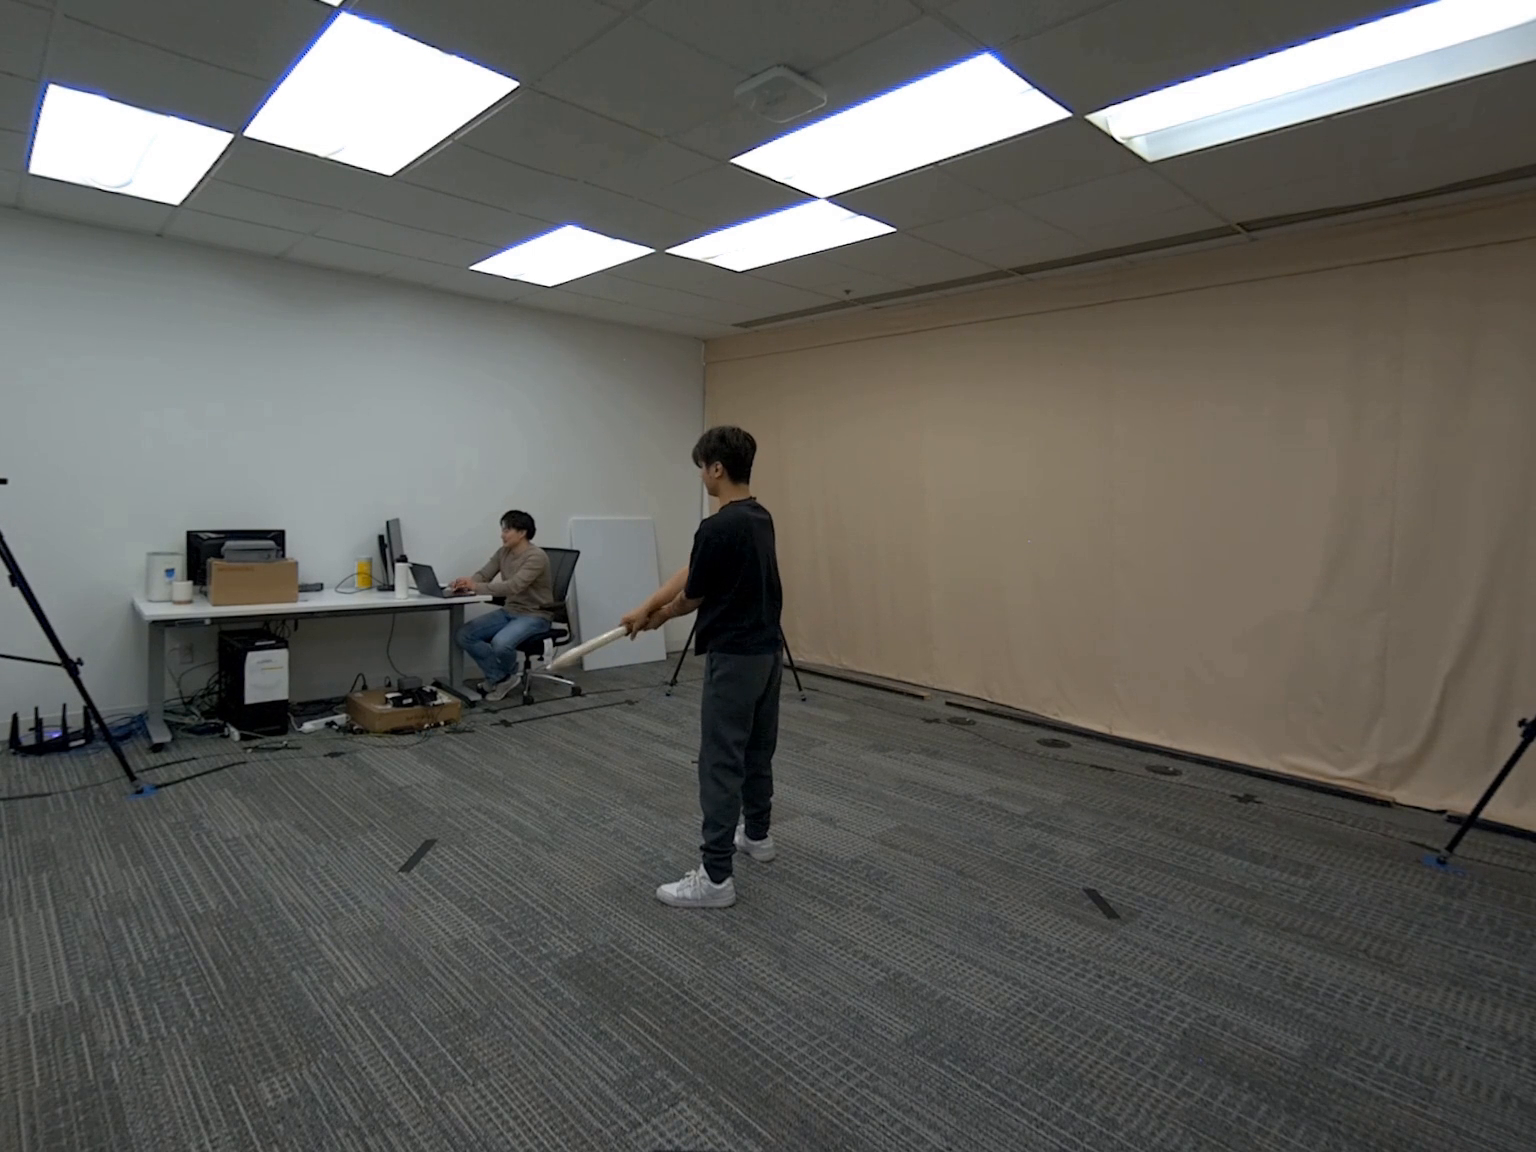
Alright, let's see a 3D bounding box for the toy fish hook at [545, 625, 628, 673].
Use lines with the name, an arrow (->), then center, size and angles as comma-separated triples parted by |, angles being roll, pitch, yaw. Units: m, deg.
toy fish hook -> -0.589, 0.231, 3.138 | 0.227, 0.048, 0.500 | -22, 2, 44
